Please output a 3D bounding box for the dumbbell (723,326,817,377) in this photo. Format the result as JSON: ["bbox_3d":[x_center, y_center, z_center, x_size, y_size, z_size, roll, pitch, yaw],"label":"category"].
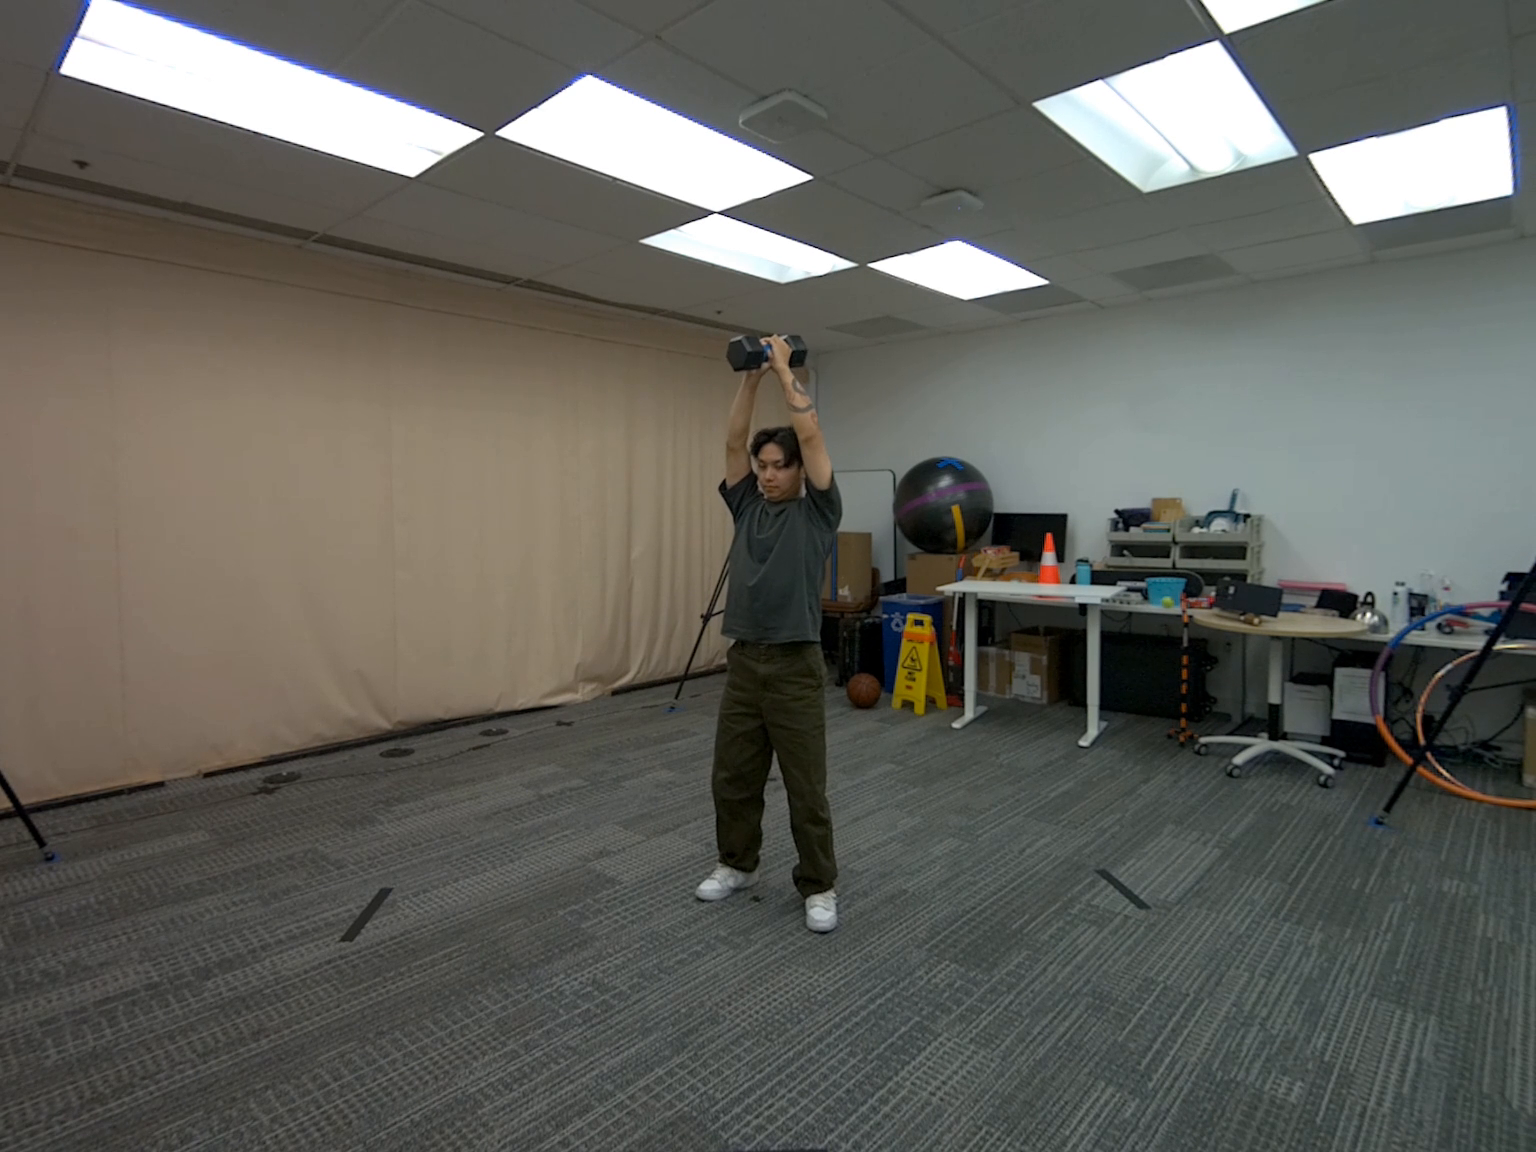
[{"bbox_3d":[0.007,-0.746,2.802,0.286,0.122,0.112,-16,42,-41],"label":"dumbbell"}]
